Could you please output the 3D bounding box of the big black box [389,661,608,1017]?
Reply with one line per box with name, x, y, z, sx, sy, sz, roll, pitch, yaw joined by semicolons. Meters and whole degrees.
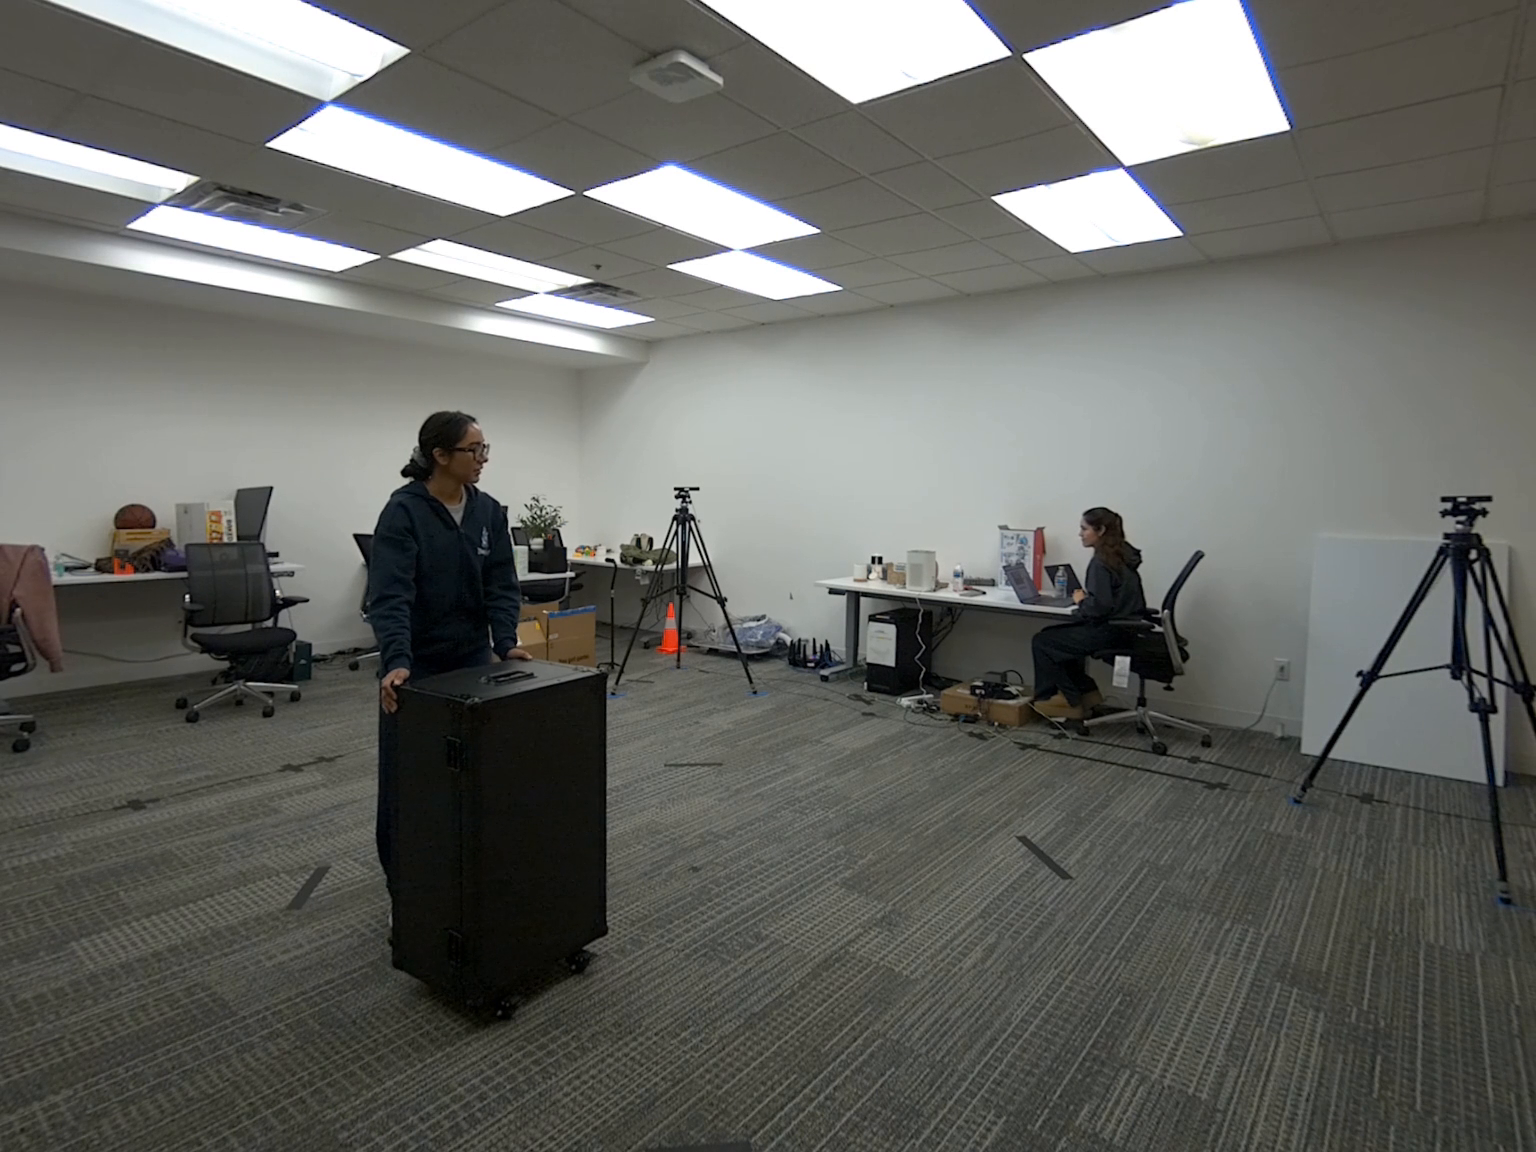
big black box;-0.766;0.704;2.400;0.408;0.860;0.506;1;3;35
